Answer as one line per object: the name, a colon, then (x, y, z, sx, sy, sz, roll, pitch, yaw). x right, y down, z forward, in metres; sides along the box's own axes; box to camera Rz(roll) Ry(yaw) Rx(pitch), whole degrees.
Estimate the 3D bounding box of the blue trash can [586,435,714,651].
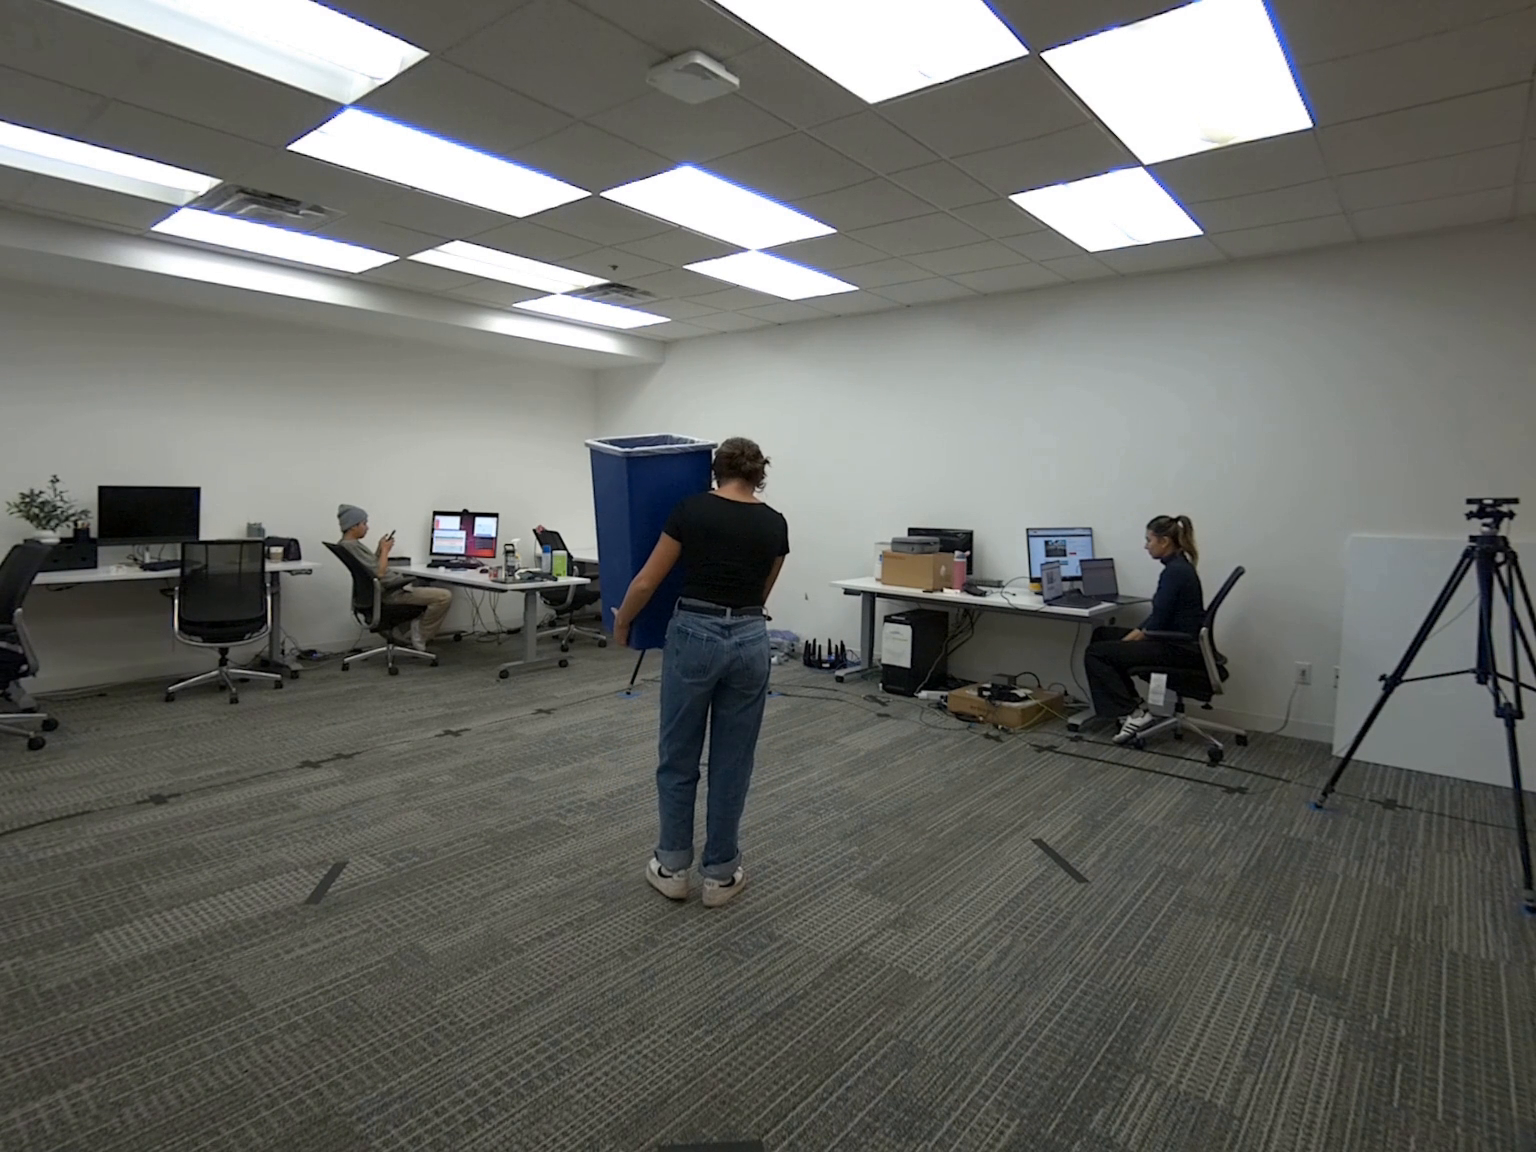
blue trash can: (-0.442, -0.144, 3.085, 0.365, 0.705, 0.392, -7, 15, -32)
